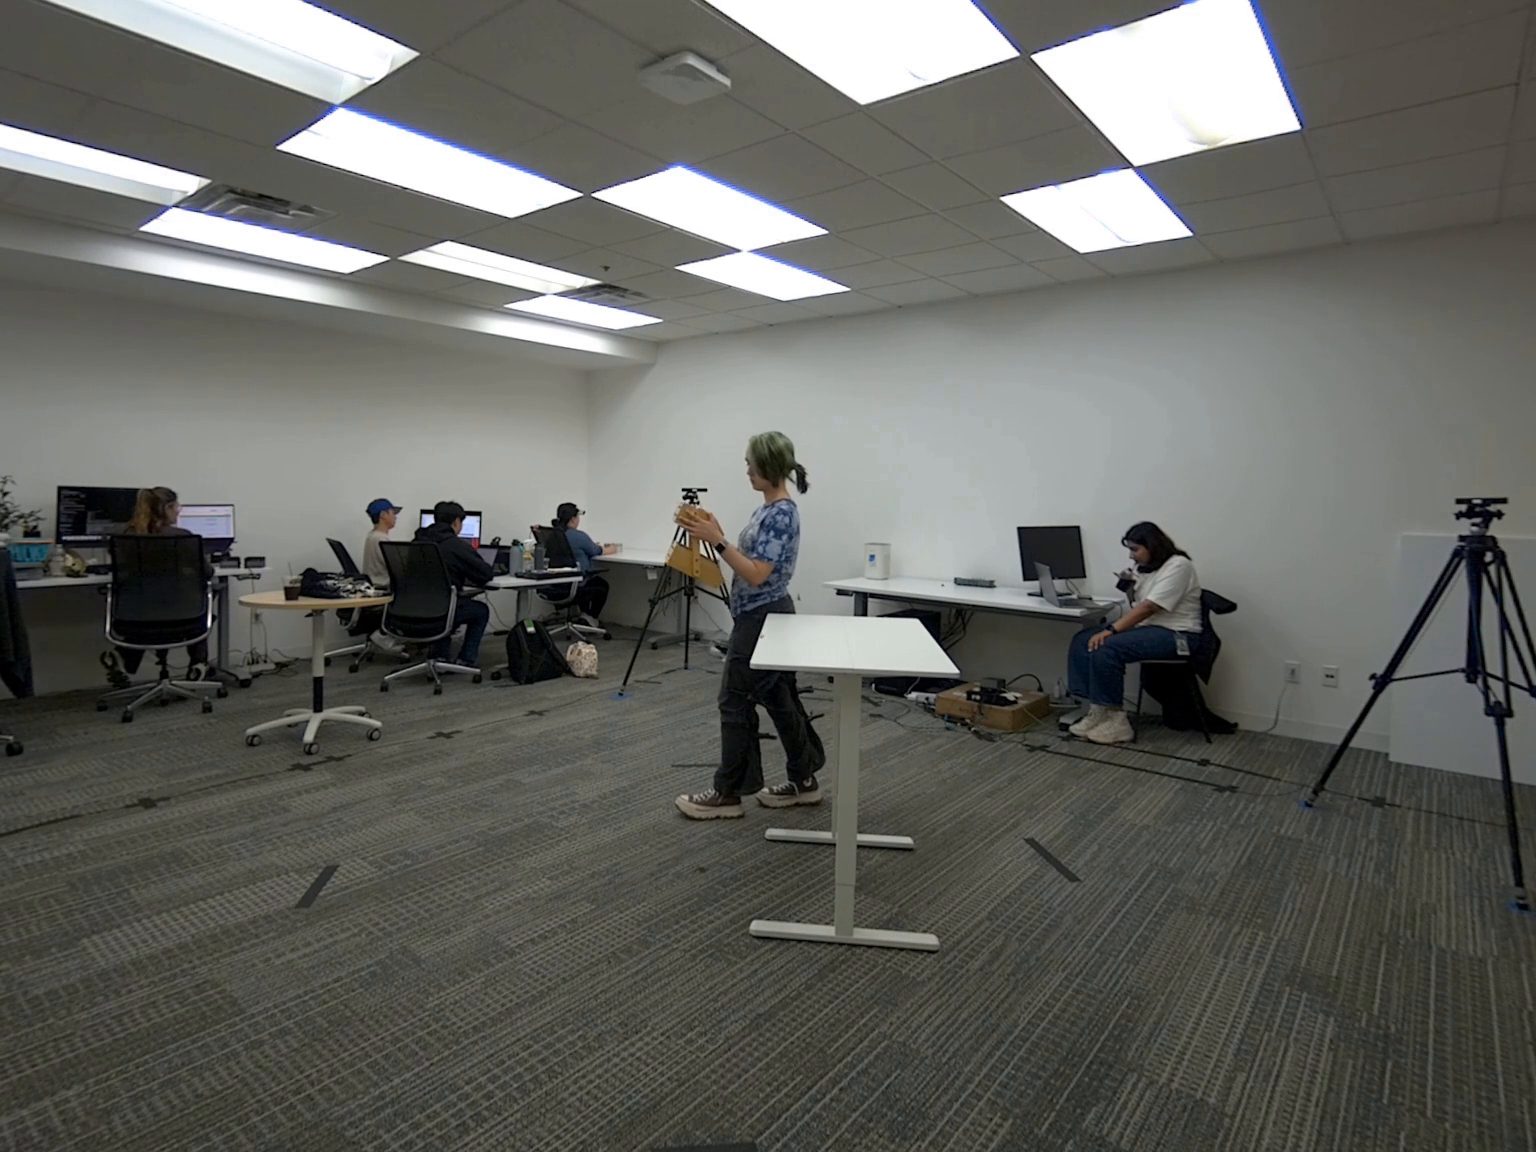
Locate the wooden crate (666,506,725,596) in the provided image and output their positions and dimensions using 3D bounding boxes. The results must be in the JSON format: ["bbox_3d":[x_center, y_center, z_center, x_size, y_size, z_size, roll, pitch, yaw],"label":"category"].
[{"bbox_3d":[-0.290,-0.139,3.645,0.301,0.273,0.326,27,0,-4],"label":"wooden crate"}]
